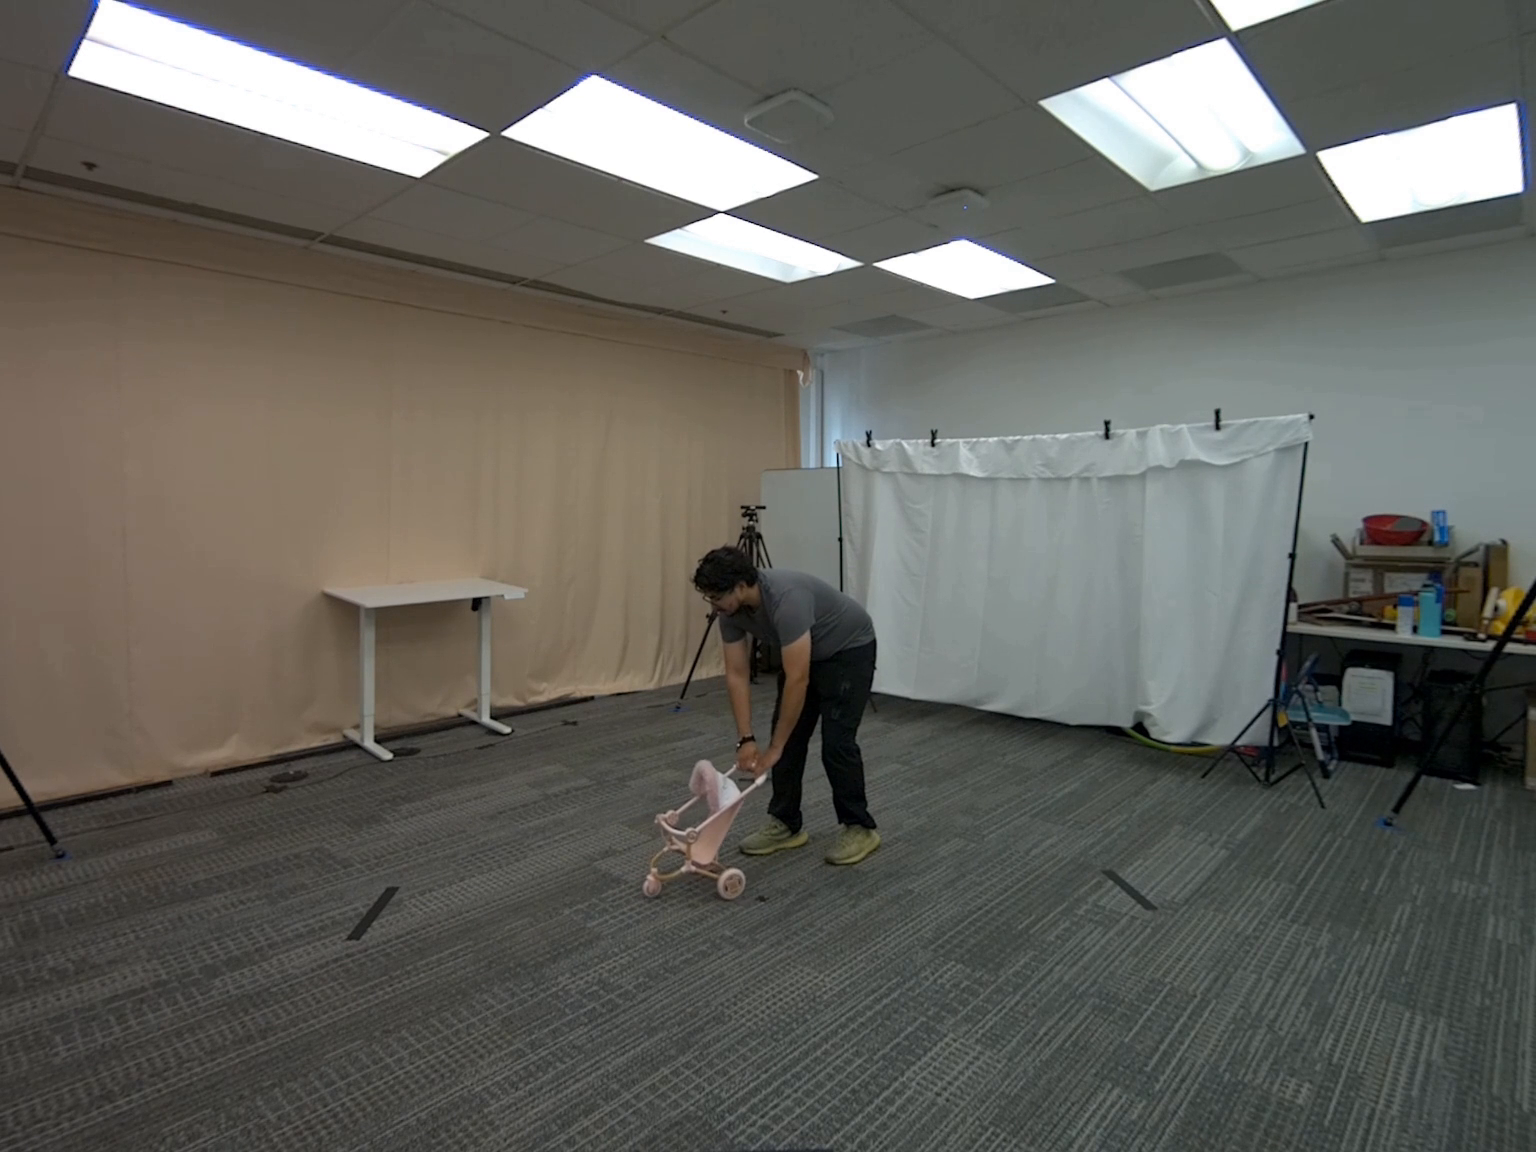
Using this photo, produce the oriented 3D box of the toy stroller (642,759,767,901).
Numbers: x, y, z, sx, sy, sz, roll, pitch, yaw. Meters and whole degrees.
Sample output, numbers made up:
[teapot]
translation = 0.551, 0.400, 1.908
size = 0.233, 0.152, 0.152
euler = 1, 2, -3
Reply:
[toy stroller]
translation = -0.240, 0.912, 3.062
size = 0.333, 0.535, 0.288
euler = 16, -3, -21
